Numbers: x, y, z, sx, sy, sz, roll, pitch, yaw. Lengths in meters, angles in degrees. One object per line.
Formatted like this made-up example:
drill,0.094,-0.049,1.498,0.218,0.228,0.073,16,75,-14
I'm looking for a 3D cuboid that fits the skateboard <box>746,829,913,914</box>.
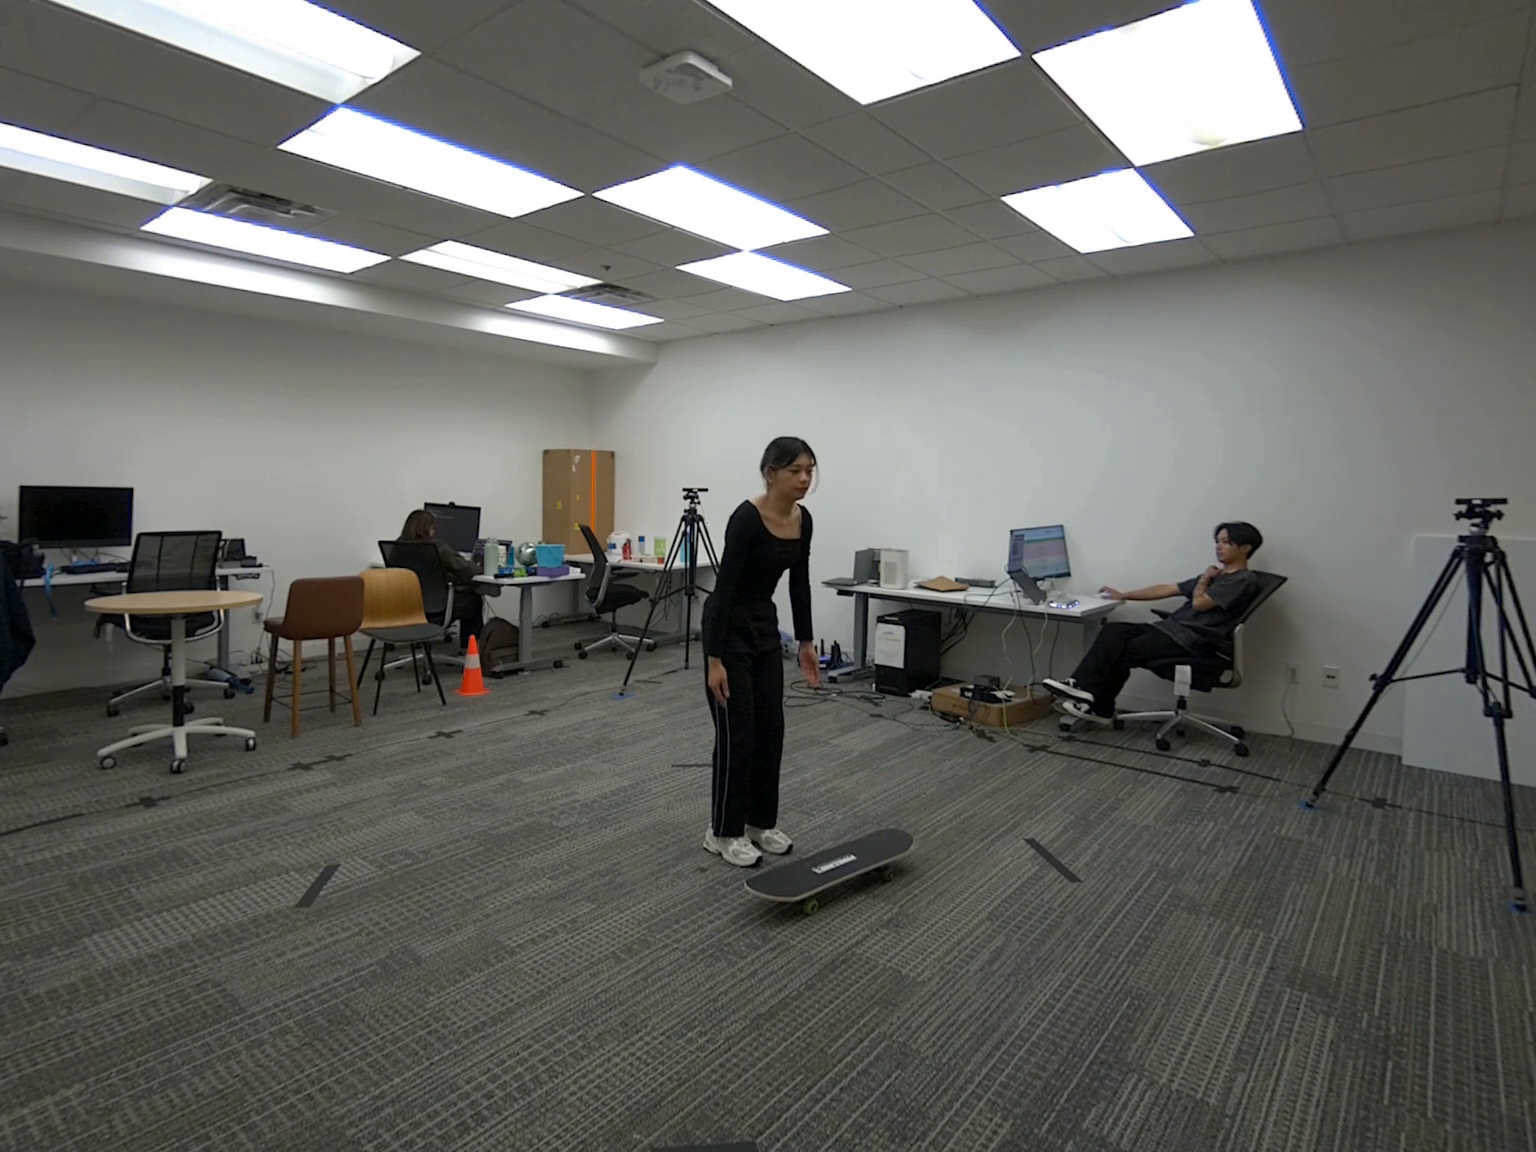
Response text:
skateboard,0.234,1.036,2.981,0.762,0.110,0.200,-4,8,-41
